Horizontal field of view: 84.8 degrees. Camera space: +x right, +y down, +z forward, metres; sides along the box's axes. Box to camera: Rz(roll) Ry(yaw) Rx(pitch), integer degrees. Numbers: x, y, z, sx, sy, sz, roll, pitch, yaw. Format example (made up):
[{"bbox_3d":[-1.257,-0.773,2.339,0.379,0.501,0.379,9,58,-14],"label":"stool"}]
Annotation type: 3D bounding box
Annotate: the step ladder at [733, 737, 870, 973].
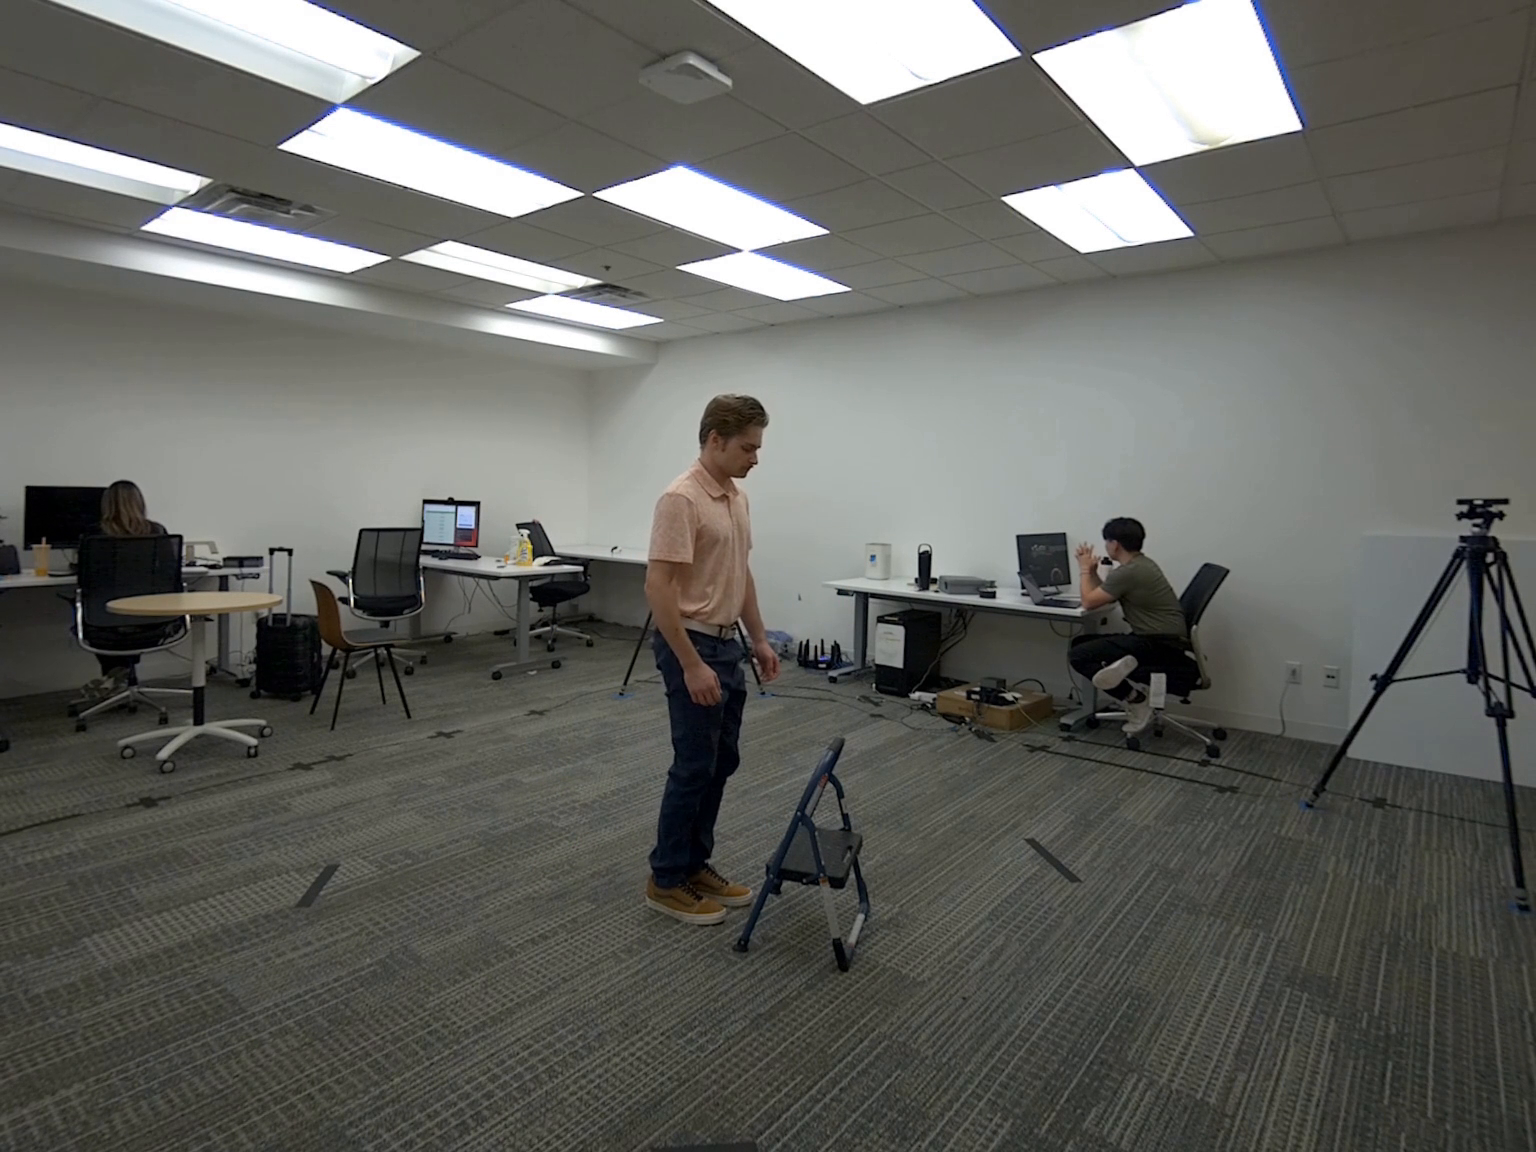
[{"bbox_3d":[0.123,0.816,2.687,0.356,0.604,0.424,3,4,17],"label":"step ladder"}]
